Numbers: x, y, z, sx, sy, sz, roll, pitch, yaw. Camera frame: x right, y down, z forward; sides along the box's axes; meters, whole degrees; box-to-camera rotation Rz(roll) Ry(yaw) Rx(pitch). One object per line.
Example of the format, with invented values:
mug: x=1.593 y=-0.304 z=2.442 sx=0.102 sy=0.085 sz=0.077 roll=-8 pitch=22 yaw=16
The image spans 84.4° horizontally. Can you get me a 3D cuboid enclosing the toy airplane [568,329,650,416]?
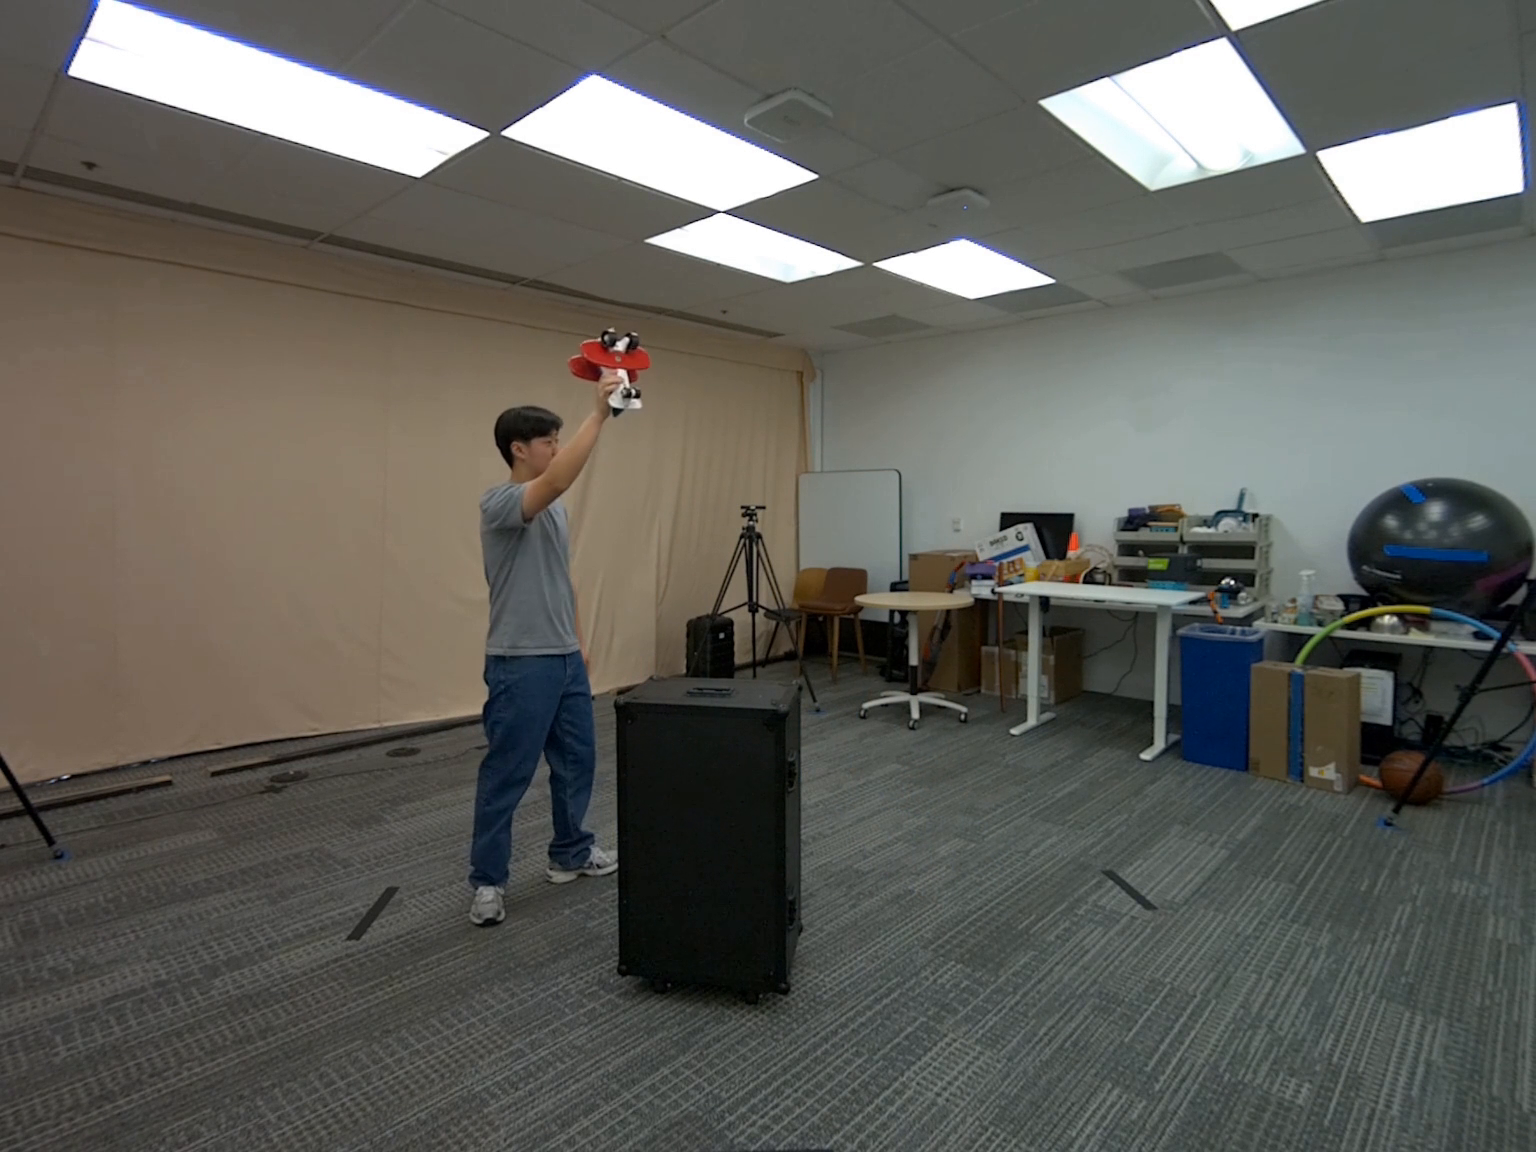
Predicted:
toy airplane: x=-0.490 y=-0.639 z=2.624 sx=0.243 sy=0.261 sz=0.160 roll=29 pitch=-29 yaw=-33
